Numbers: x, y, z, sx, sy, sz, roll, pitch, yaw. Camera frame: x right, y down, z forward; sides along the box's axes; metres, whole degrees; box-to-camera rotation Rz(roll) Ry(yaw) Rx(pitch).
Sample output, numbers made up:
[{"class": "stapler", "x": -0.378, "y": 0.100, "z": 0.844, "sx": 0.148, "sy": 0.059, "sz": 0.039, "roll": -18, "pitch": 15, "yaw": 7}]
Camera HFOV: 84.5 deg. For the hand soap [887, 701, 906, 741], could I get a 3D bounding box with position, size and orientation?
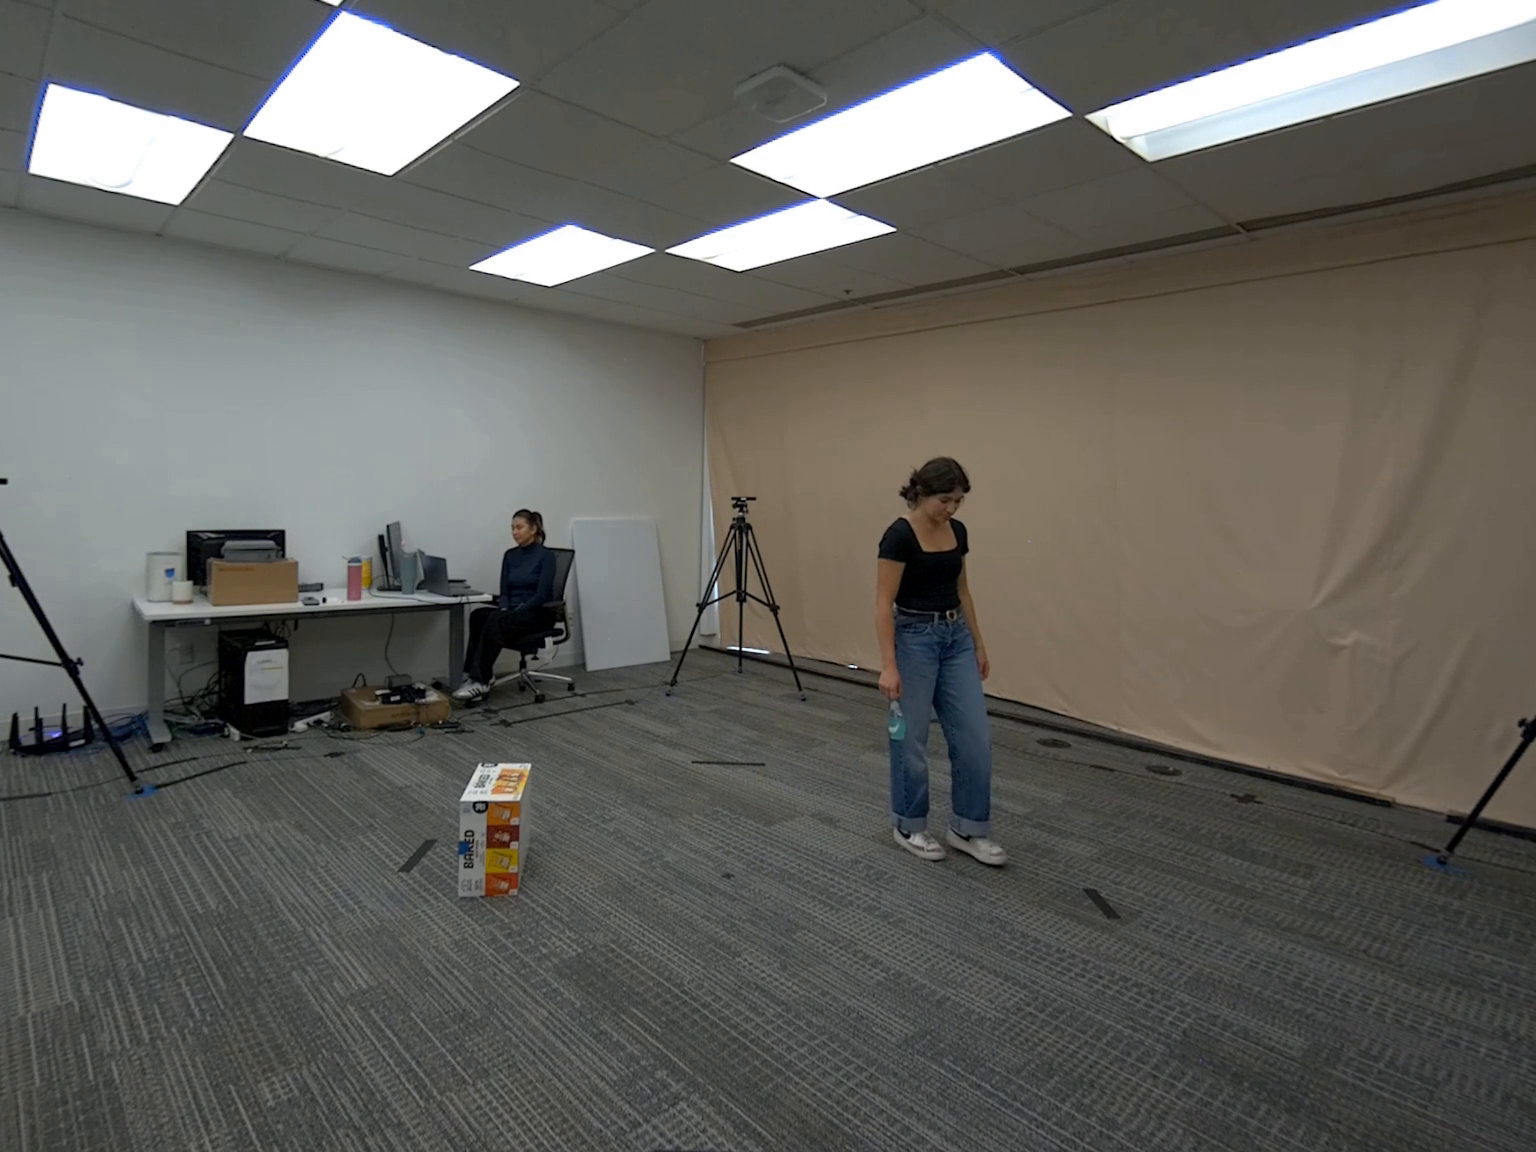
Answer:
[{"class": "hand soap", "x": 0.475, "y": 0.529, "z": 3.137, "sx": 0.043, "sy": 0.168, "sz": 0.086, "roll": -1, "pitch": 4, "yaw": -23}]
